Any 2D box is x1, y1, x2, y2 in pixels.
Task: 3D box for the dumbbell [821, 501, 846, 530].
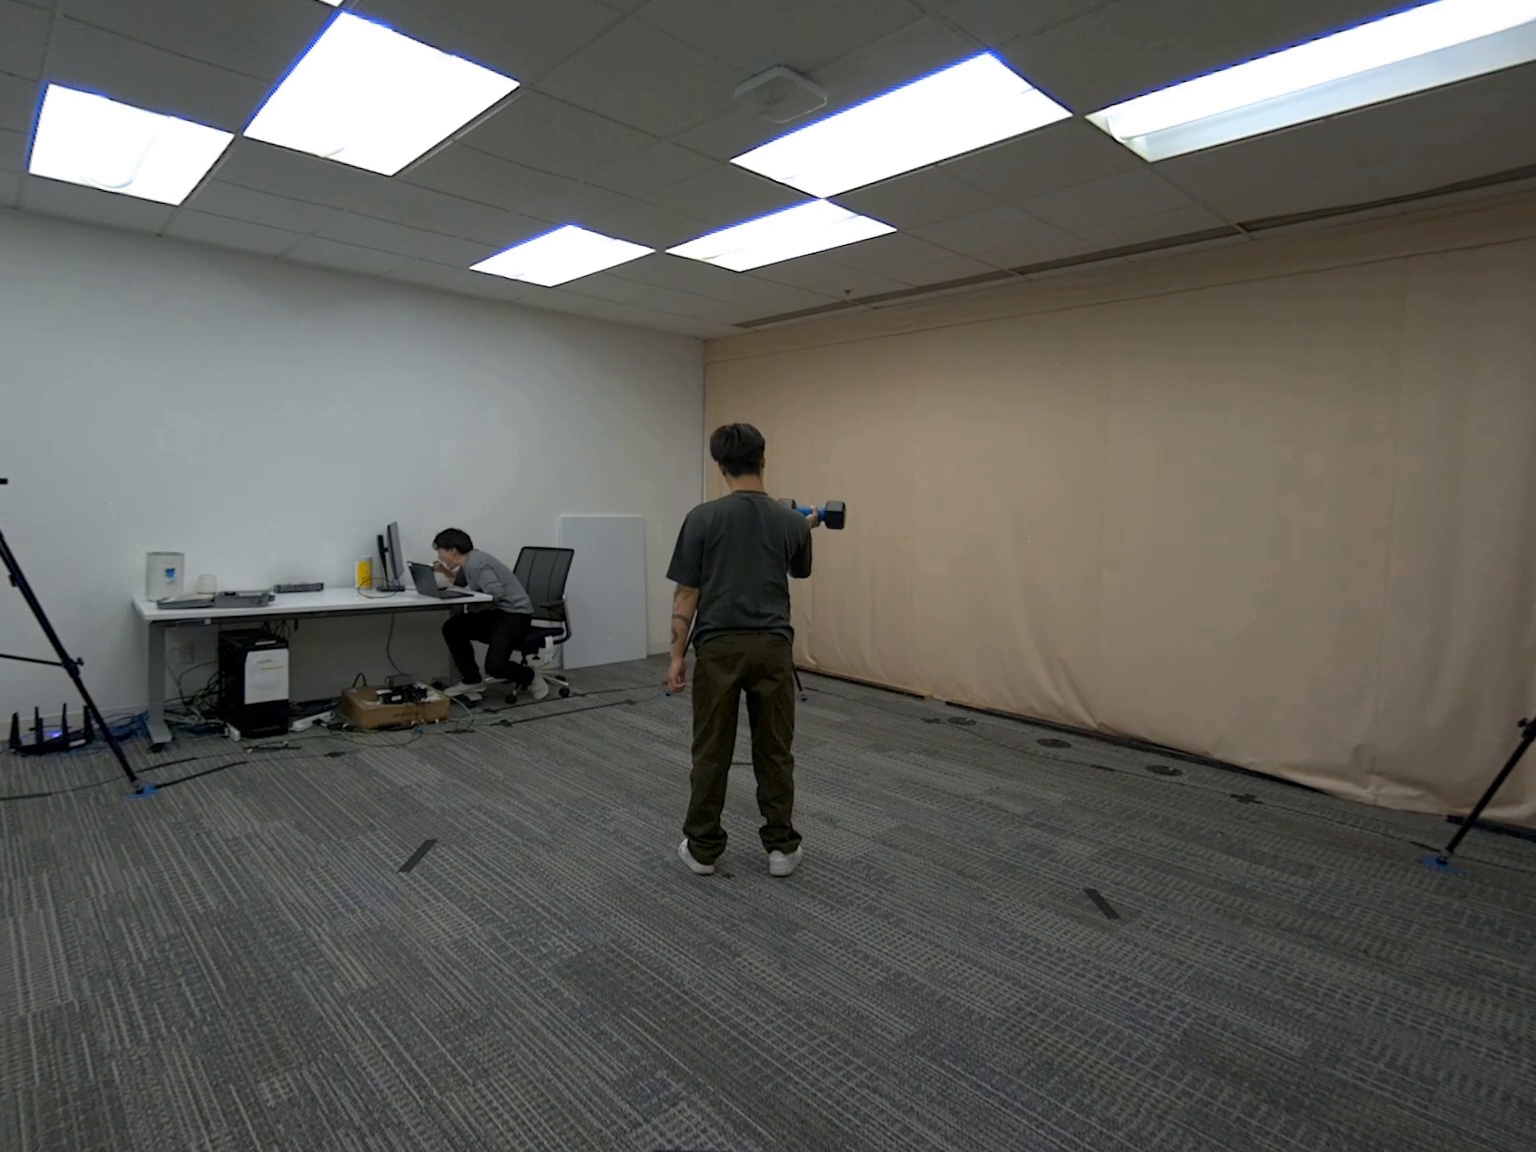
[{"bbox_3d":[0.175,-0.262,3.560,0.297,0.121,0.109,5,17,14],"label":"dumbbell"}]
